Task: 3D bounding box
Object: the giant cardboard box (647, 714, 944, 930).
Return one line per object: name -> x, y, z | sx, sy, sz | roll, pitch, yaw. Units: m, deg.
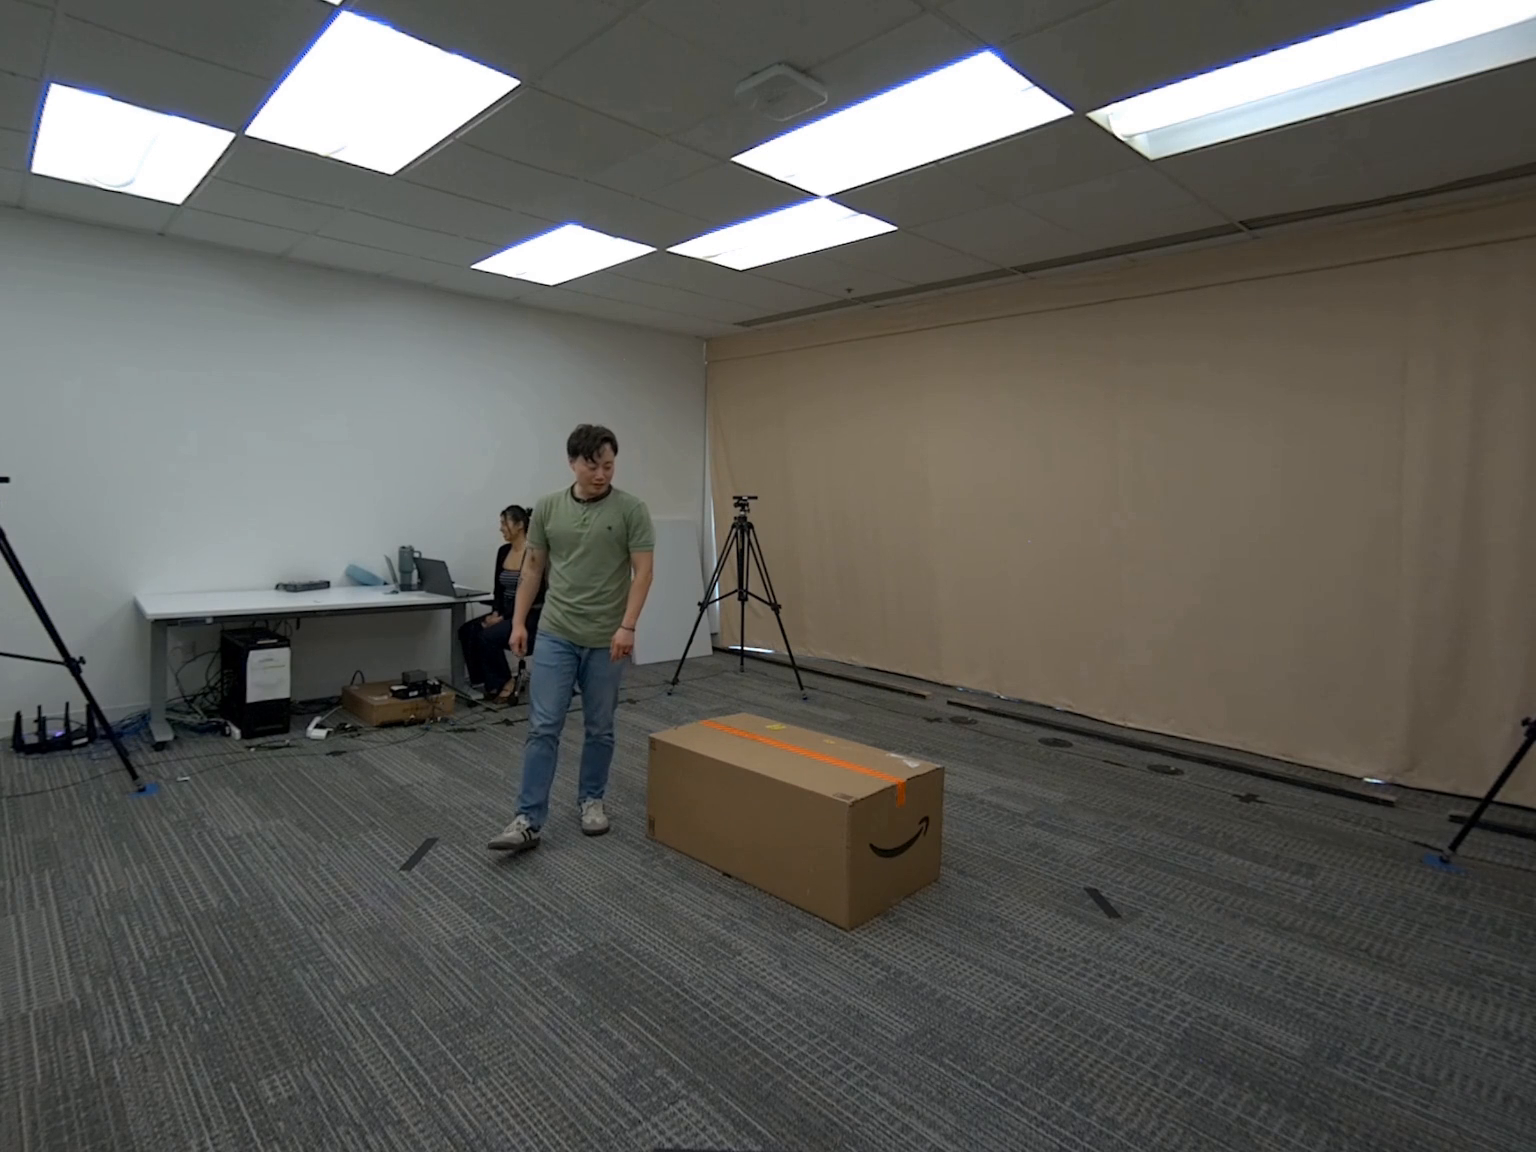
giant cardboard box -> 0.071, 0.880, 3.259 | 1.052, 0.425, 0.564 | 6, 5, 44
